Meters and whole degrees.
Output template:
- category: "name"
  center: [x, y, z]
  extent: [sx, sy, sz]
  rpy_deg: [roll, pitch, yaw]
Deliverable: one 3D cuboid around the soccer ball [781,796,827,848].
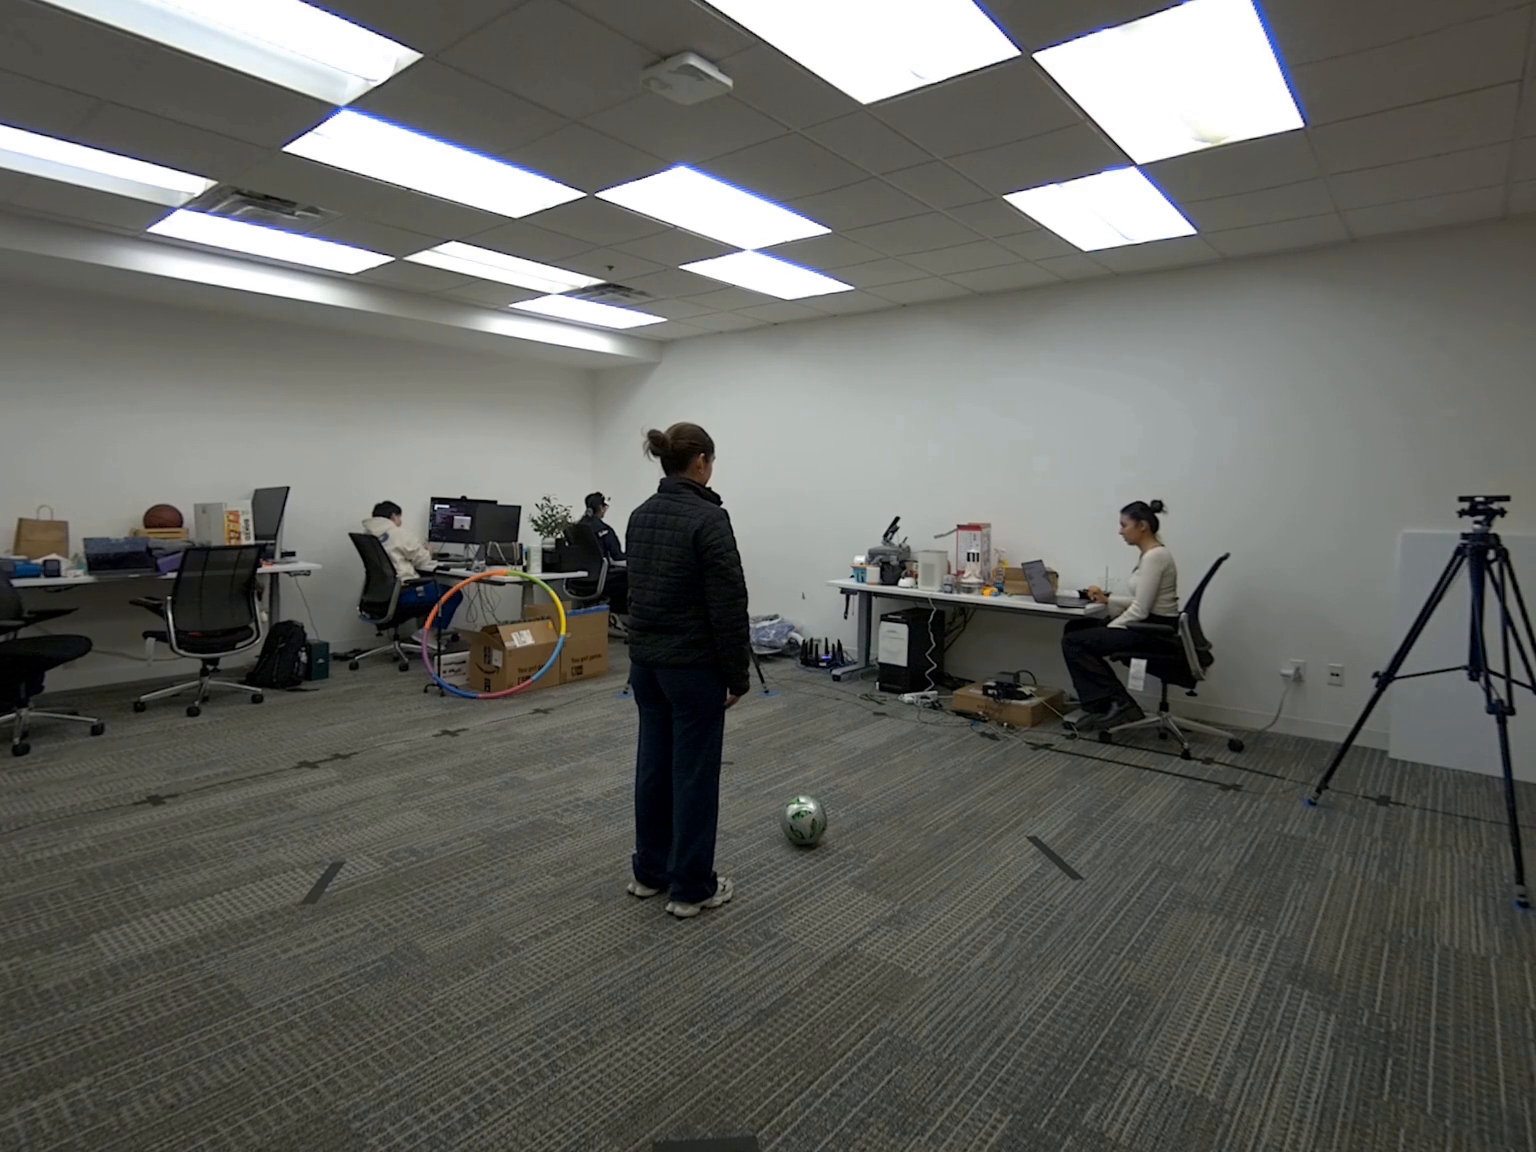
- category: "soccer ball"
  center: [0.133, 0.955, 3.344]
  extent: [0.187, 0.187, 0.188]
  rpy_deg: [1, 4, -2]
